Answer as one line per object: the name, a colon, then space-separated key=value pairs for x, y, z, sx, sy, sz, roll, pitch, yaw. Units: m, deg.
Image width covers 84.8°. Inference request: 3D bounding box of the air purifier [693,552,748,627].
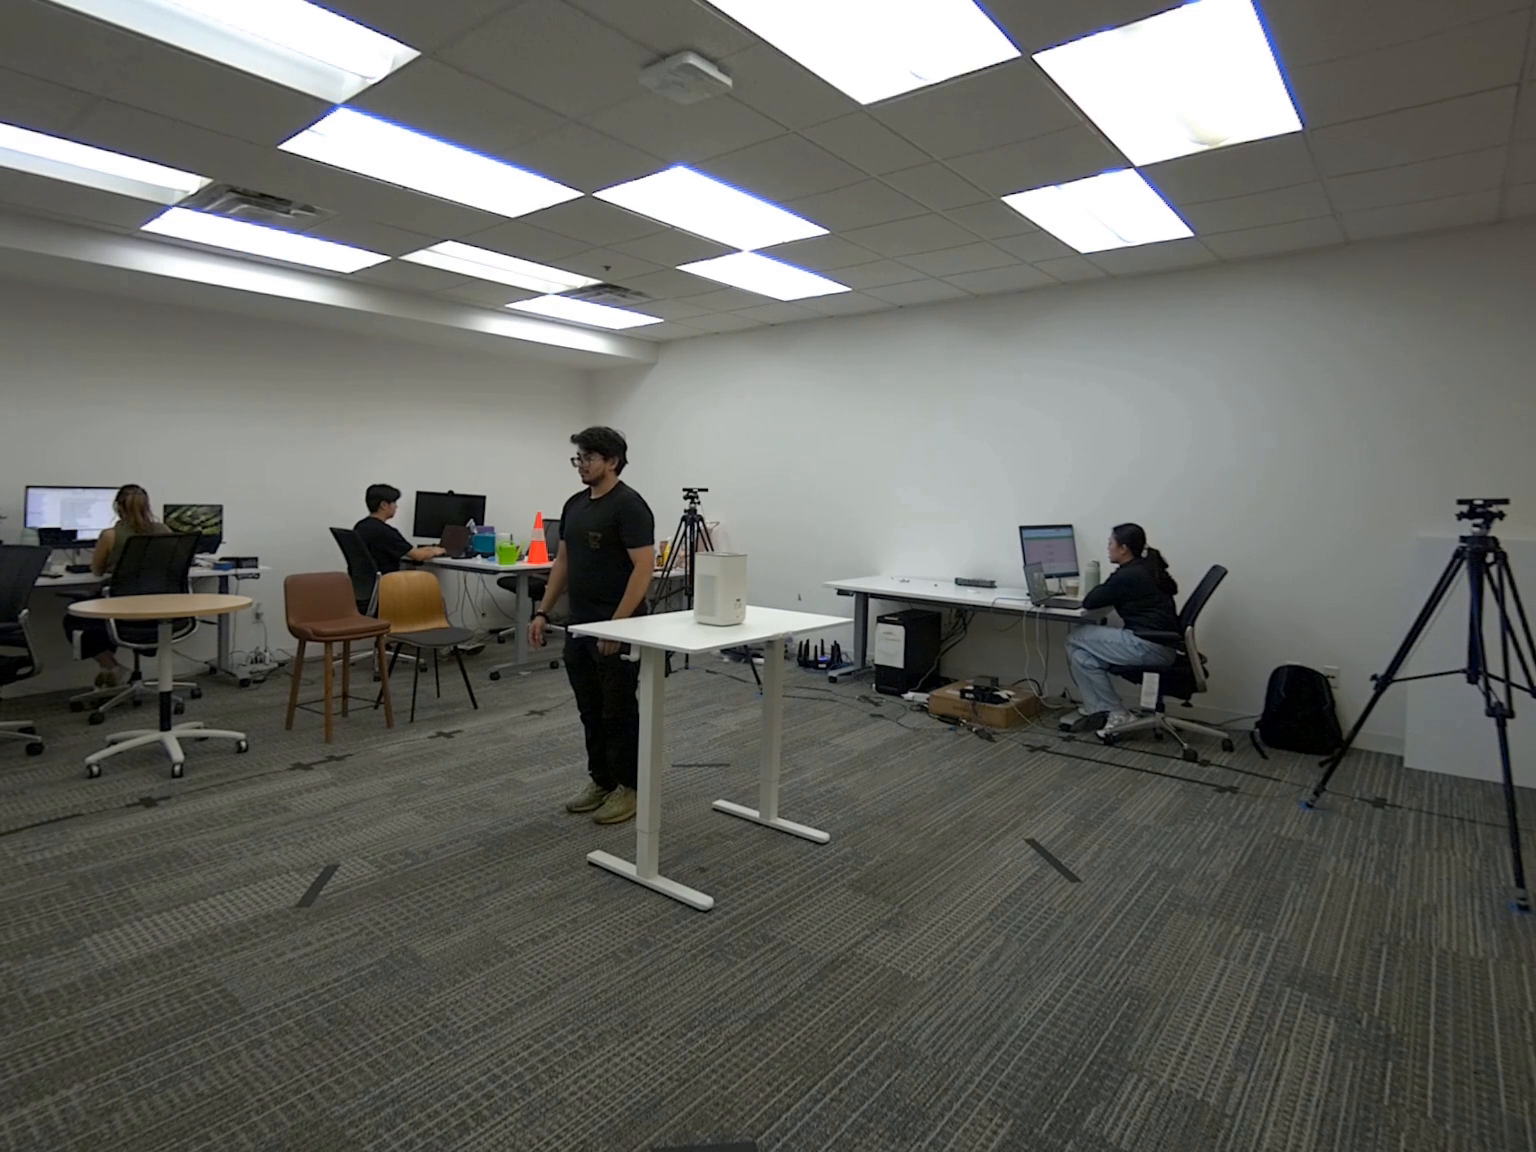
air purifier: x=-0.191 y=0.045 z=3.215 sx=0.177 sy=0.264 sz=0.166 roll=5 pitch=6 yaw=38
